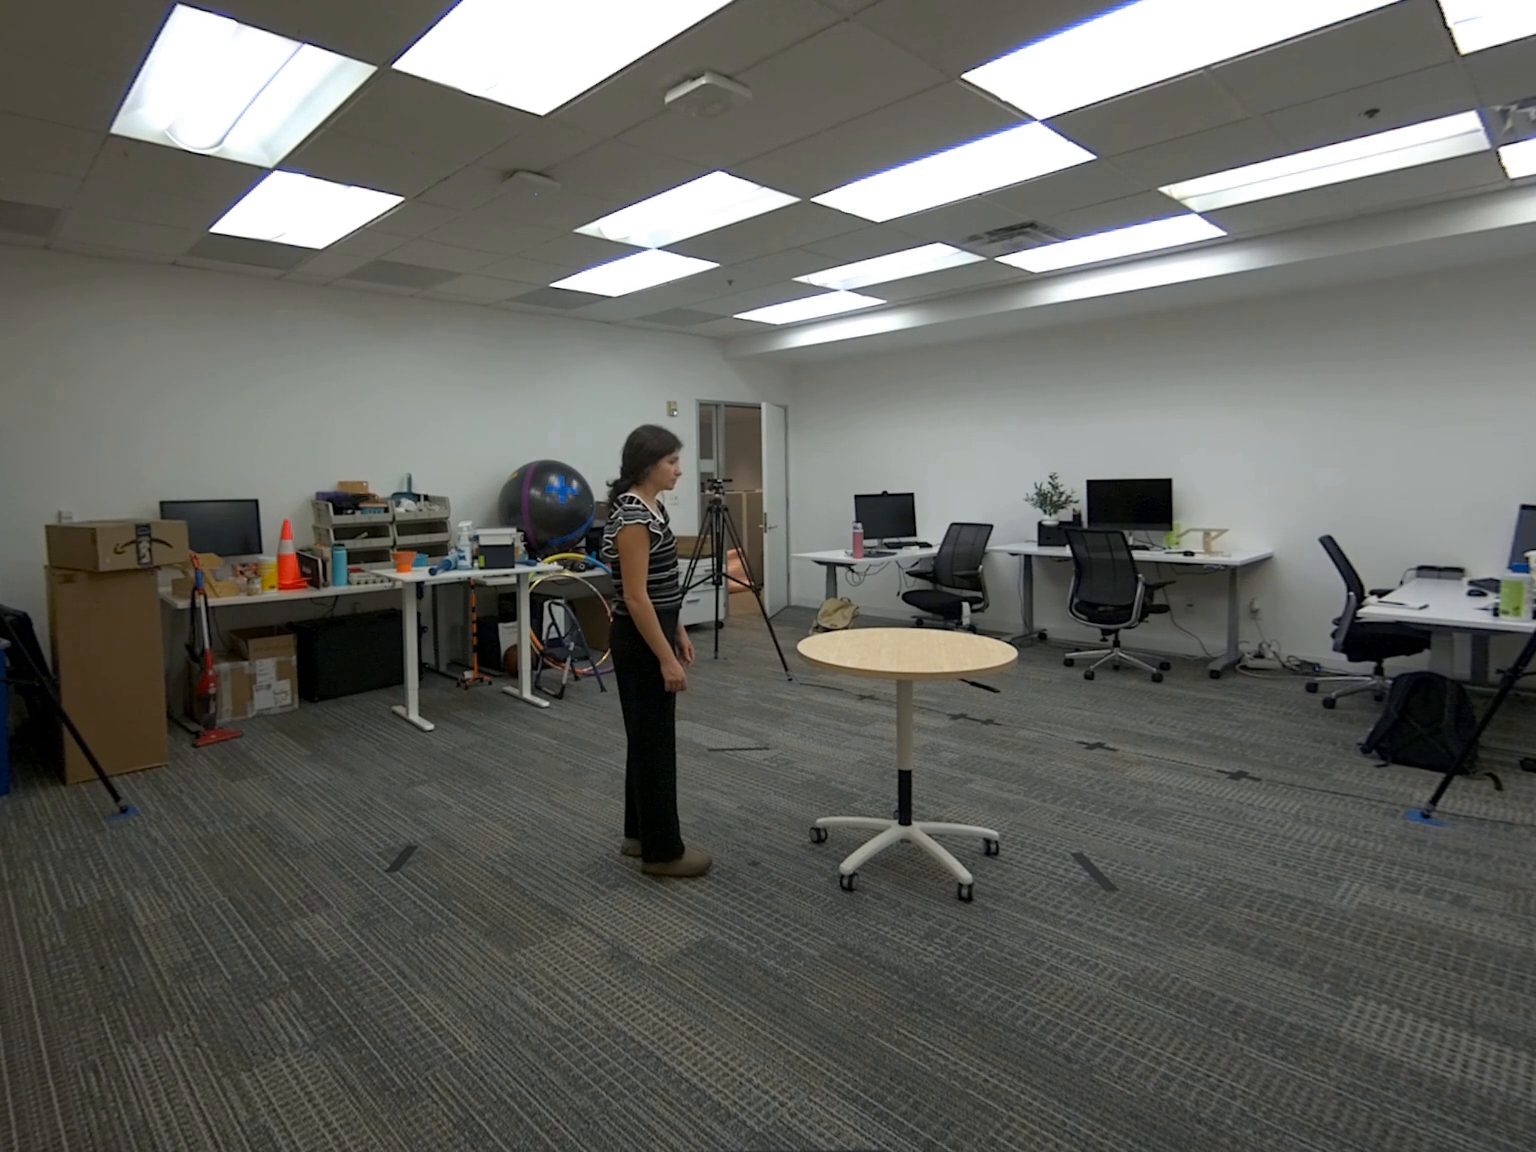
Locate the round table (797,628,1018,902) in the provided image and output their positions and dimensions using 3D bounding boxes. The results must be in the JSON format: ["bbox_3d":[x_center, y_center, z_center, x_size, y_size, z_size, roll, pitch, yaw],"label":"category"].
[{"bbox_3d":[0.476,0.641,3.075,0.784,0.784,0.789,-1,5,-2],"label":"round table"}]
